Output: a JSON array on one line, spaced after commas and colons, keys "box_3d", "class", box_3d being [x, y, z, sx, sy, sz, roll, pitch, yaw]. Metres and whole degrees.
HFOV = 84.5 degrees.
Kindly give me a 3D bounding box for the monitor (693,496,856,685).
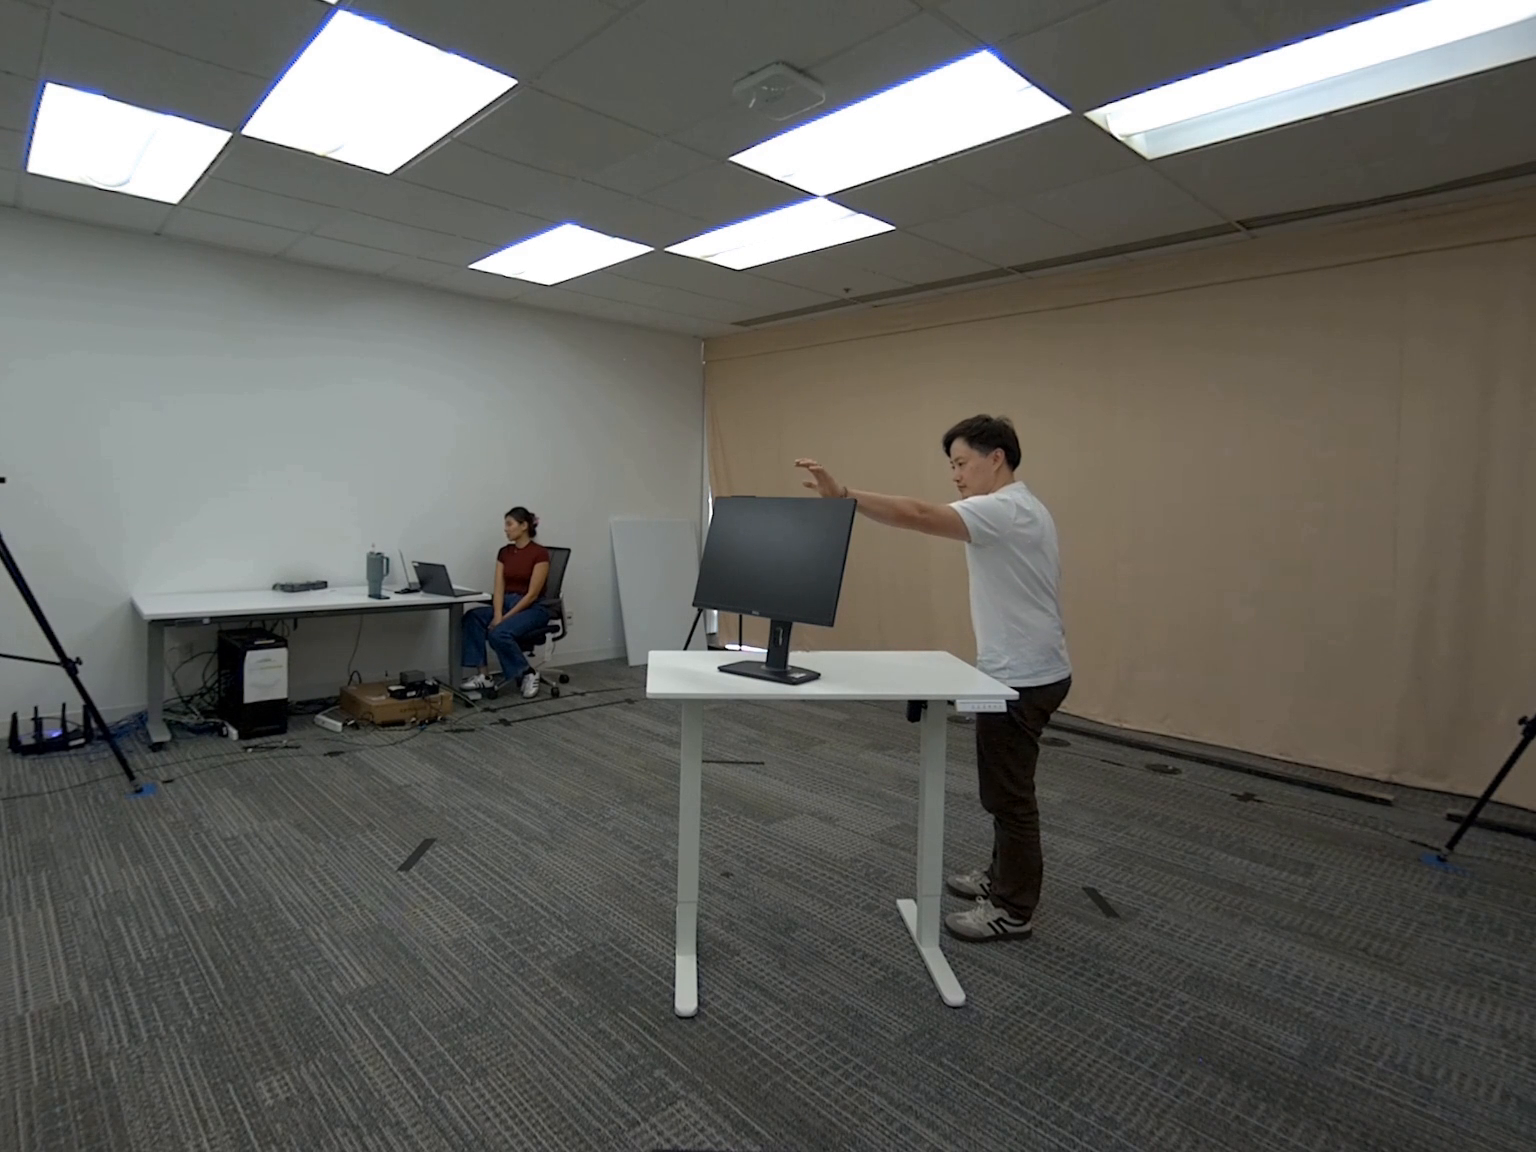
[{"box_3d": [0.019, 0.038, 2.434, 0.553, 0.522, 0.182, 5, 3, 42], "class": "monitor"}]
